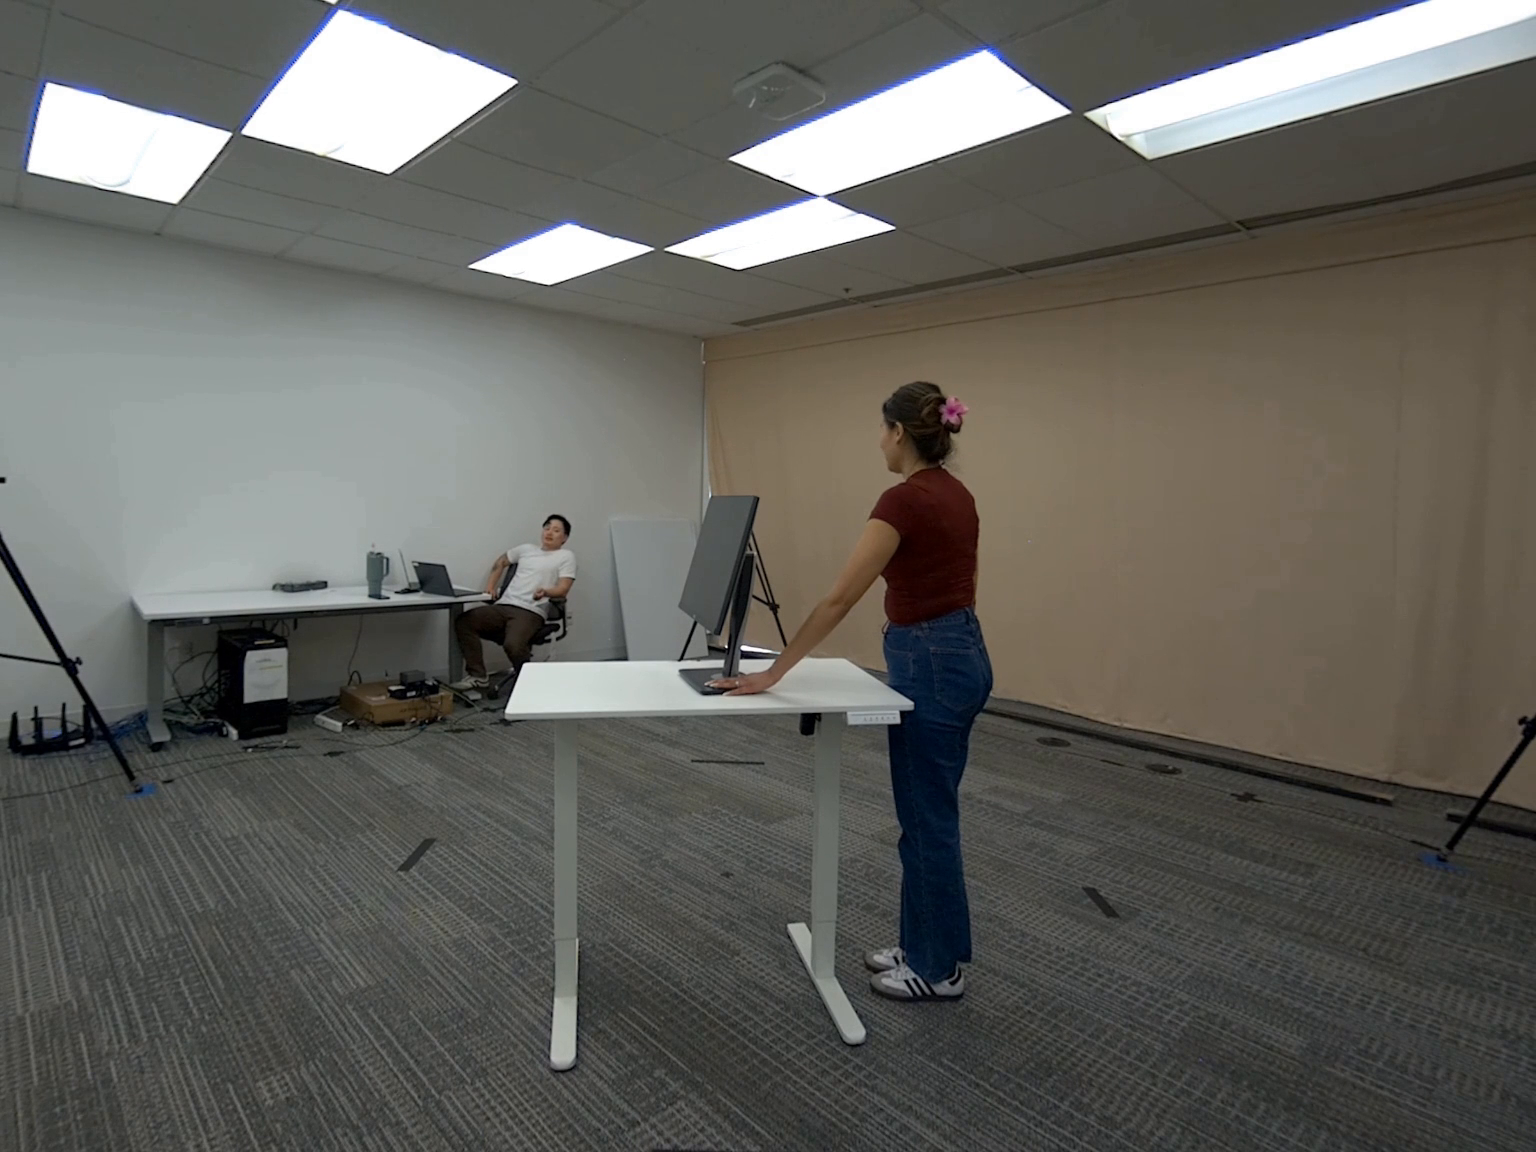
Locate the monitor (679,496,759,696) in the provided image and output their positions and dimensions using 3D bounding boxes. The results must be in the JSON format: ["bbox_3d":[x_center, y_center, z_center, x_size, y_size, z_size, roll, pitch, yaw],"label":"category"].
[{"bbox_3d":[-0.118,0.040,2.296,0.184,0.522,0.547,2,2,-17],"label":"monitor"}]
